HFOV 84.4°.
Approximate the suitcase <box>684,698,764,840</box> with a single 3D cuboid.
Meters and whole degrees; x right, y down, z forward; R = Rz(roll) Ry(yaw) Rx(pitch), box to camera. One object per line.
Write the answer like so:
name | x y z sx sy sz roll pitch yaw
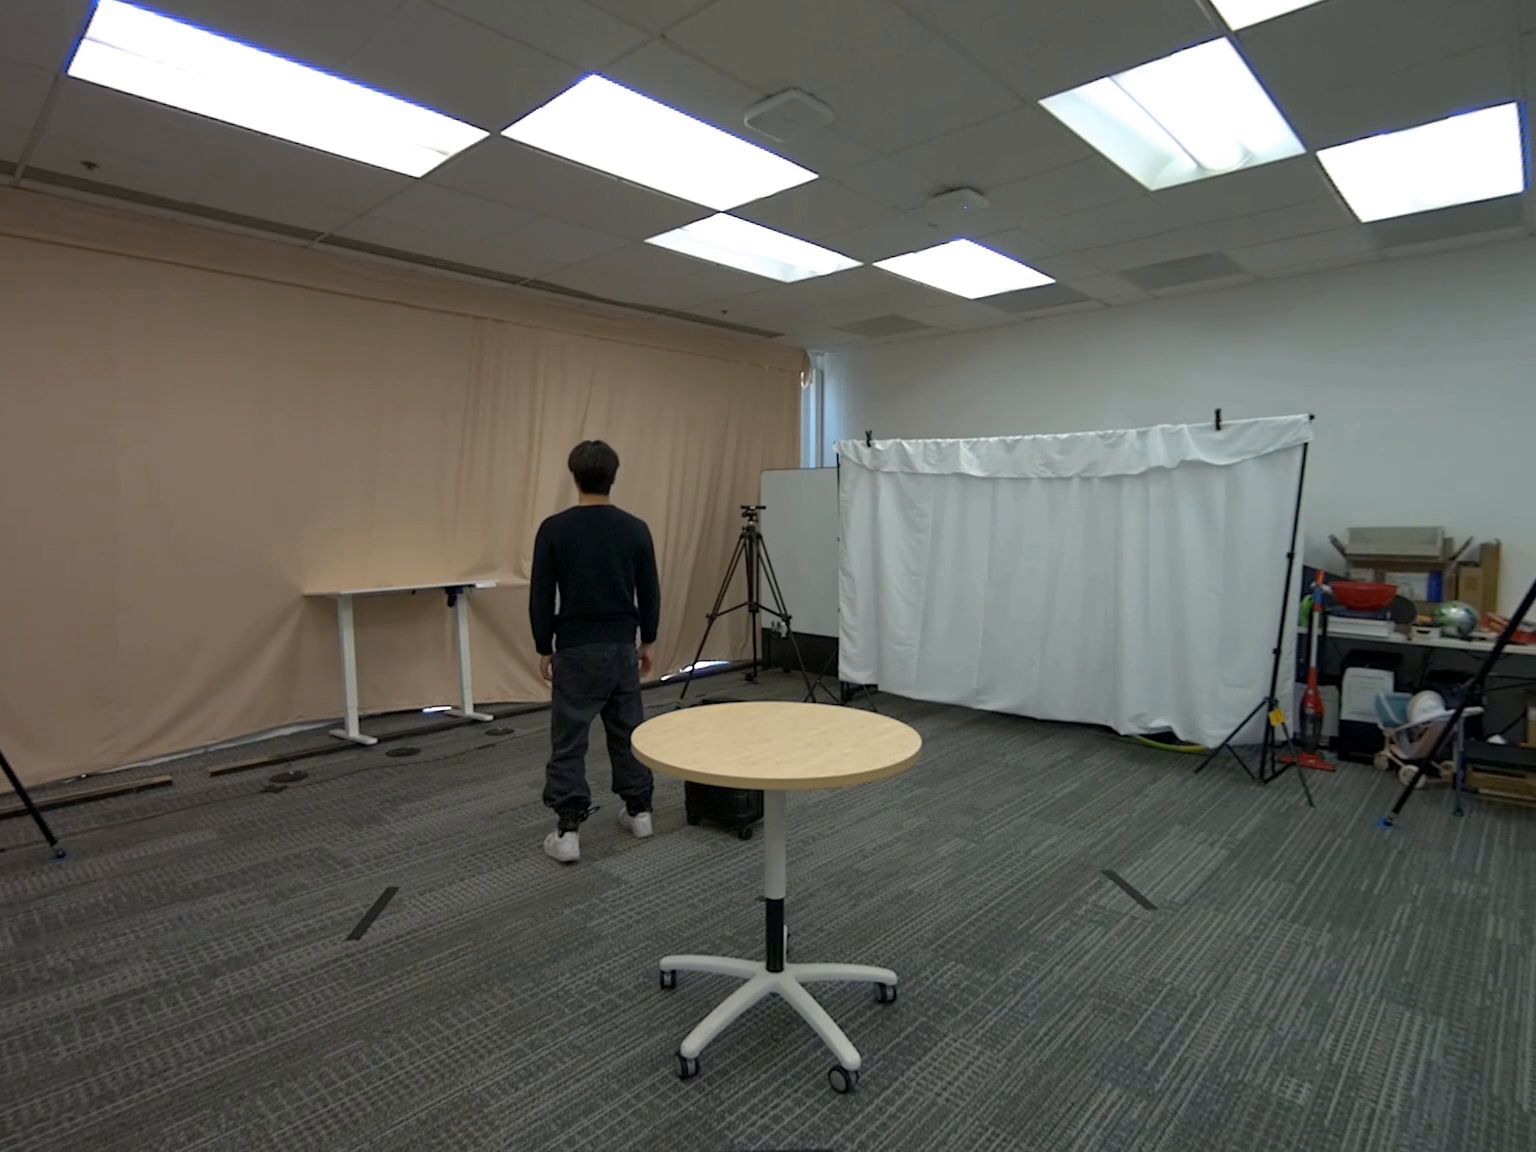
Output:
suitcase | -0.172 0.818 3.683 0.387 0.549 0.241 0 2 37
